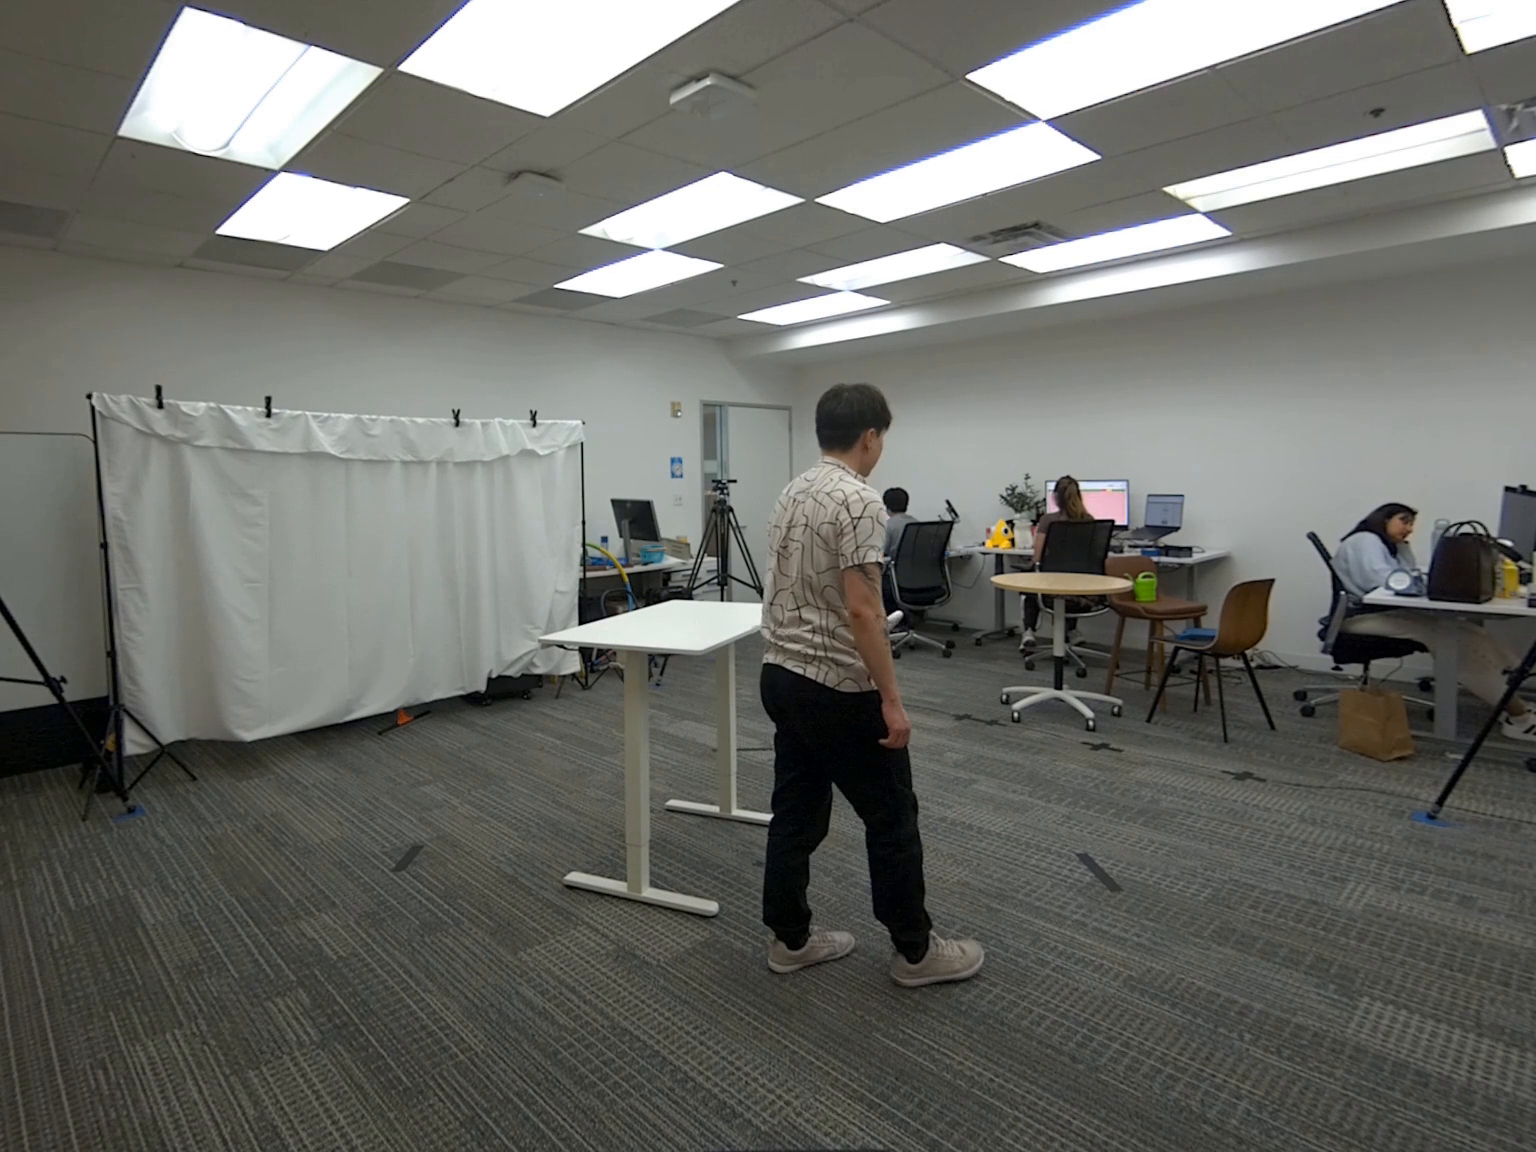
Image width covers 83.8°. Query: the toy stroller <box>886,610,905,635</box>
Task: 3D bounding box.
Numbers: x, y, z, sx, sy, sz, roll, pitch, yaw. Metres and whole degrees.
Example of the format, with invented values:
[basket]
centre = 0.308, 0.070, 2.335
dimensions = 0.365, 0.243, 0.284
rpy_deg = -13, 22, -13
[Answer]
[toy stroller]
centre = 0.234, 0.349, 2.792
dimensions = 0.344, 0.541, 0.276
rpy_deg = 10, -16, 7
